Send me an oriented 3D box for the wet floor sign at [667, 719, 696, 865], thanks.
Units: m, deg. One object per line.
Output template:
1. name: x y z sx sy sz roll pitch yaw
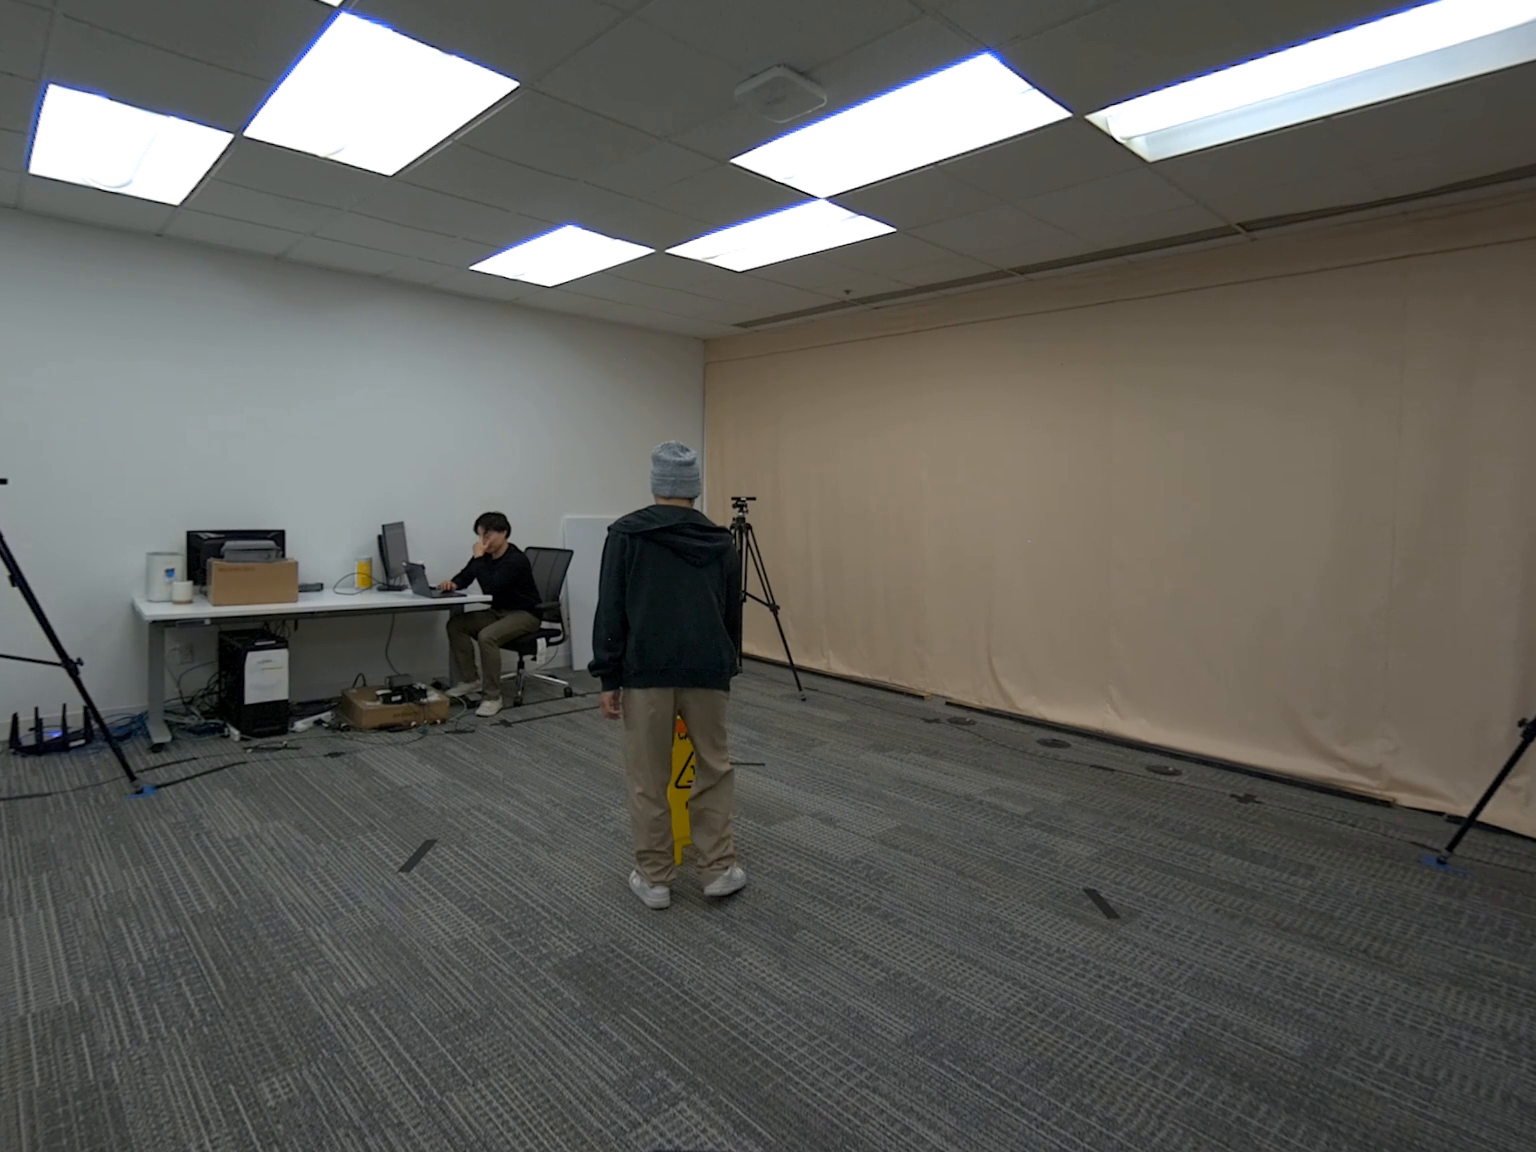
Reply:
1. wet floor sign: -0.297 0.760 3.305 0.279 0.645 0.293 2 2 -12
